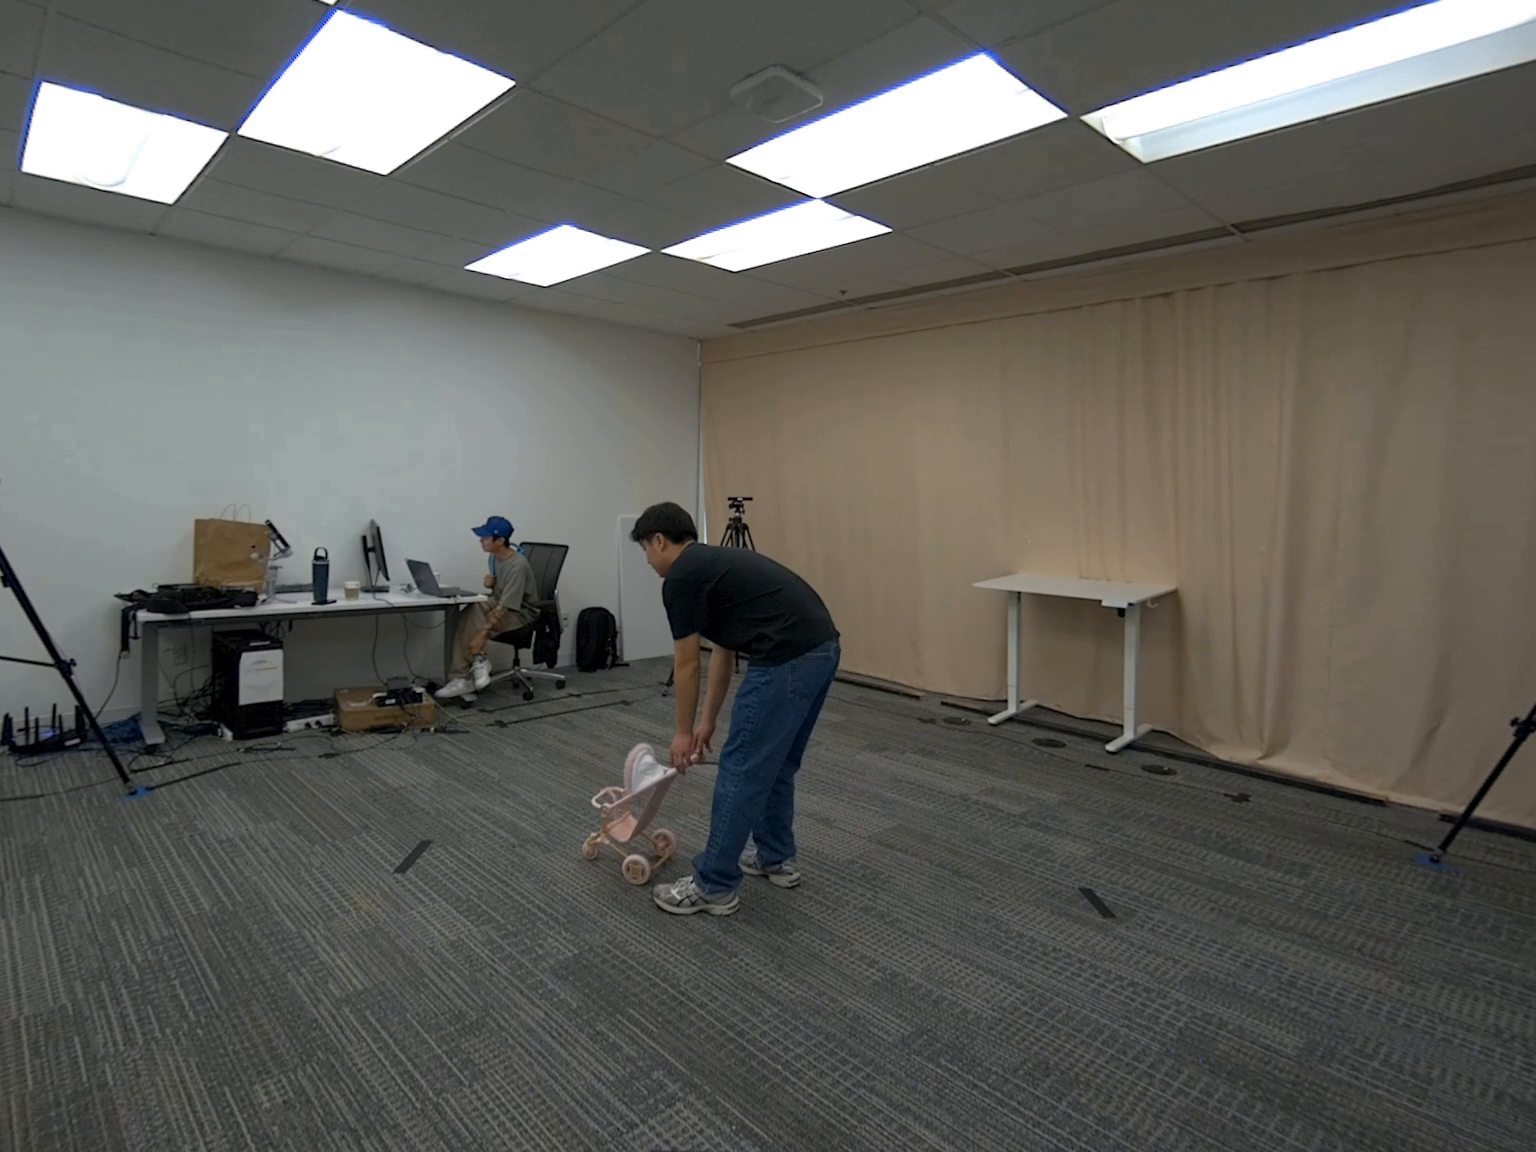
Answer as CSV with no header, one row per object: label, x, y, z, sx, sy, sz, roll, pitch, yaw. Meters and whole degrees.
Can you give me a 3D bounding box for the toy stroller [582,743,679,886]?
toy stroller,-0.500,0.870,3.148,0.348,0.532,0.277,19,9,21
